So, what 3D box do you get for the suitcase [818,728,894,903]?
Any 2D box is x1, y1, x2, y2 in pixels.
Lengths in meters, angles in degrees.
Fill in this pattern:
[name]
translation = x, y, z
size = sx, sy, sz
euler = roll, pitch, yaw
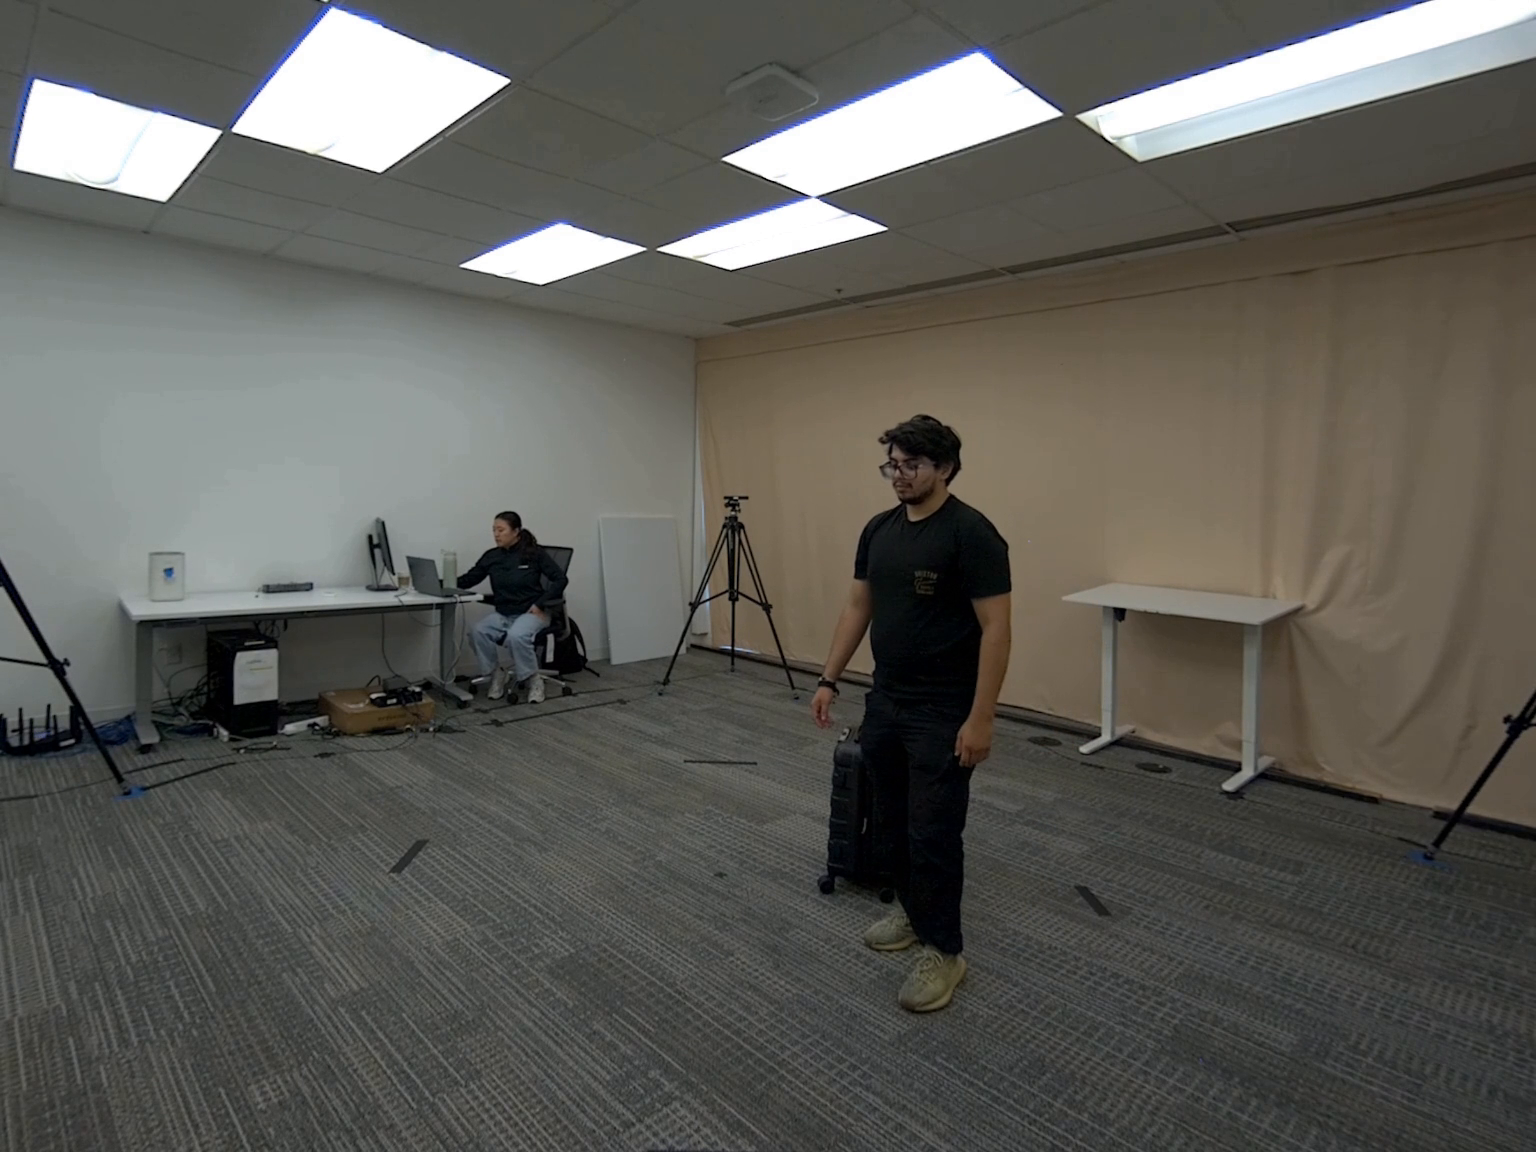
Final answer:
[suitcase]
translation = 0.362, 0.841, 3.089
size = 0.251, 0.548, 0.372
euler = 4, 4, 14
